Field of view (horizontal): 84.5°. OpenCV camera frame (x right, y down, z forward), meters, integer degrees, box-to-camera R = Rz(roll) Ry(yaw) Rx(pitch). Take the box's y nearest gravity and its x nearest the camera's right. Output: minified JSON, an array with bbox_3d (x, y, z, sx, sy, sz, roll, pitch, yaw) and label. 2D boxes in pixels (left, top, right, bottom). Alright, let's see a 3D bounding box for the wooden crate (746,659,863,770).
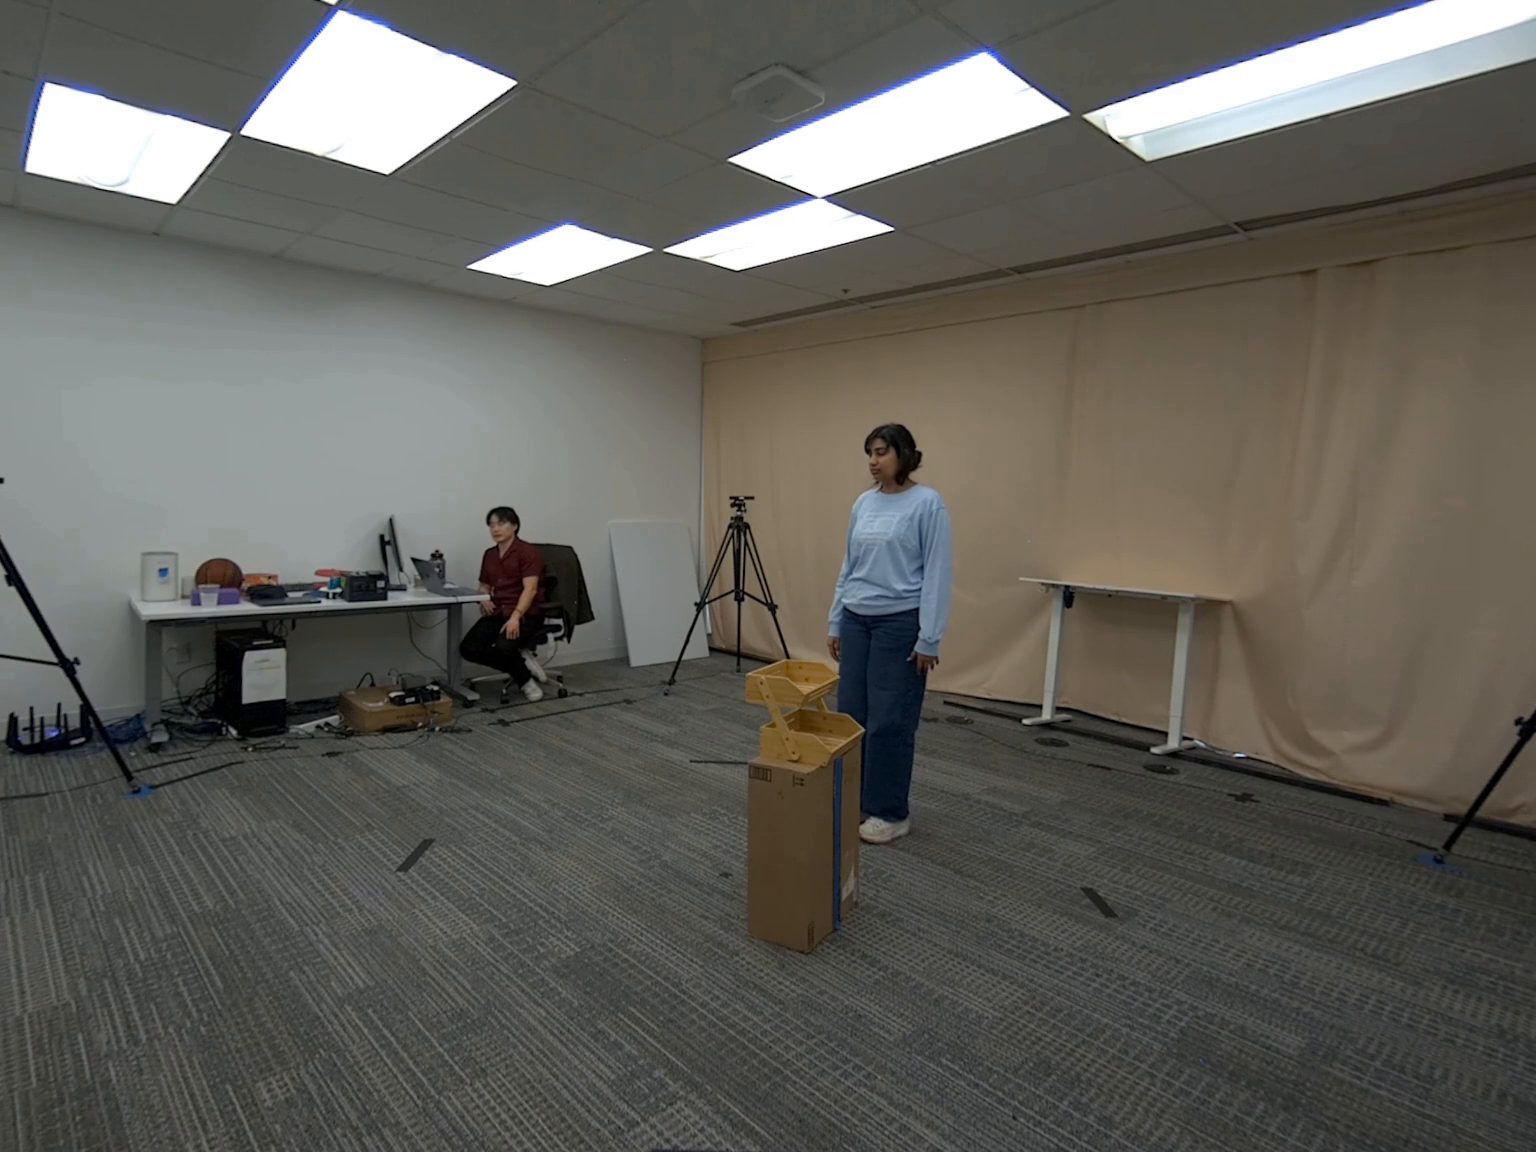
[{"bbox_3d":[0.131,0.443,2.788,0.308,0.273,0.319,2,4,27],"label":"wooden crate"}]
